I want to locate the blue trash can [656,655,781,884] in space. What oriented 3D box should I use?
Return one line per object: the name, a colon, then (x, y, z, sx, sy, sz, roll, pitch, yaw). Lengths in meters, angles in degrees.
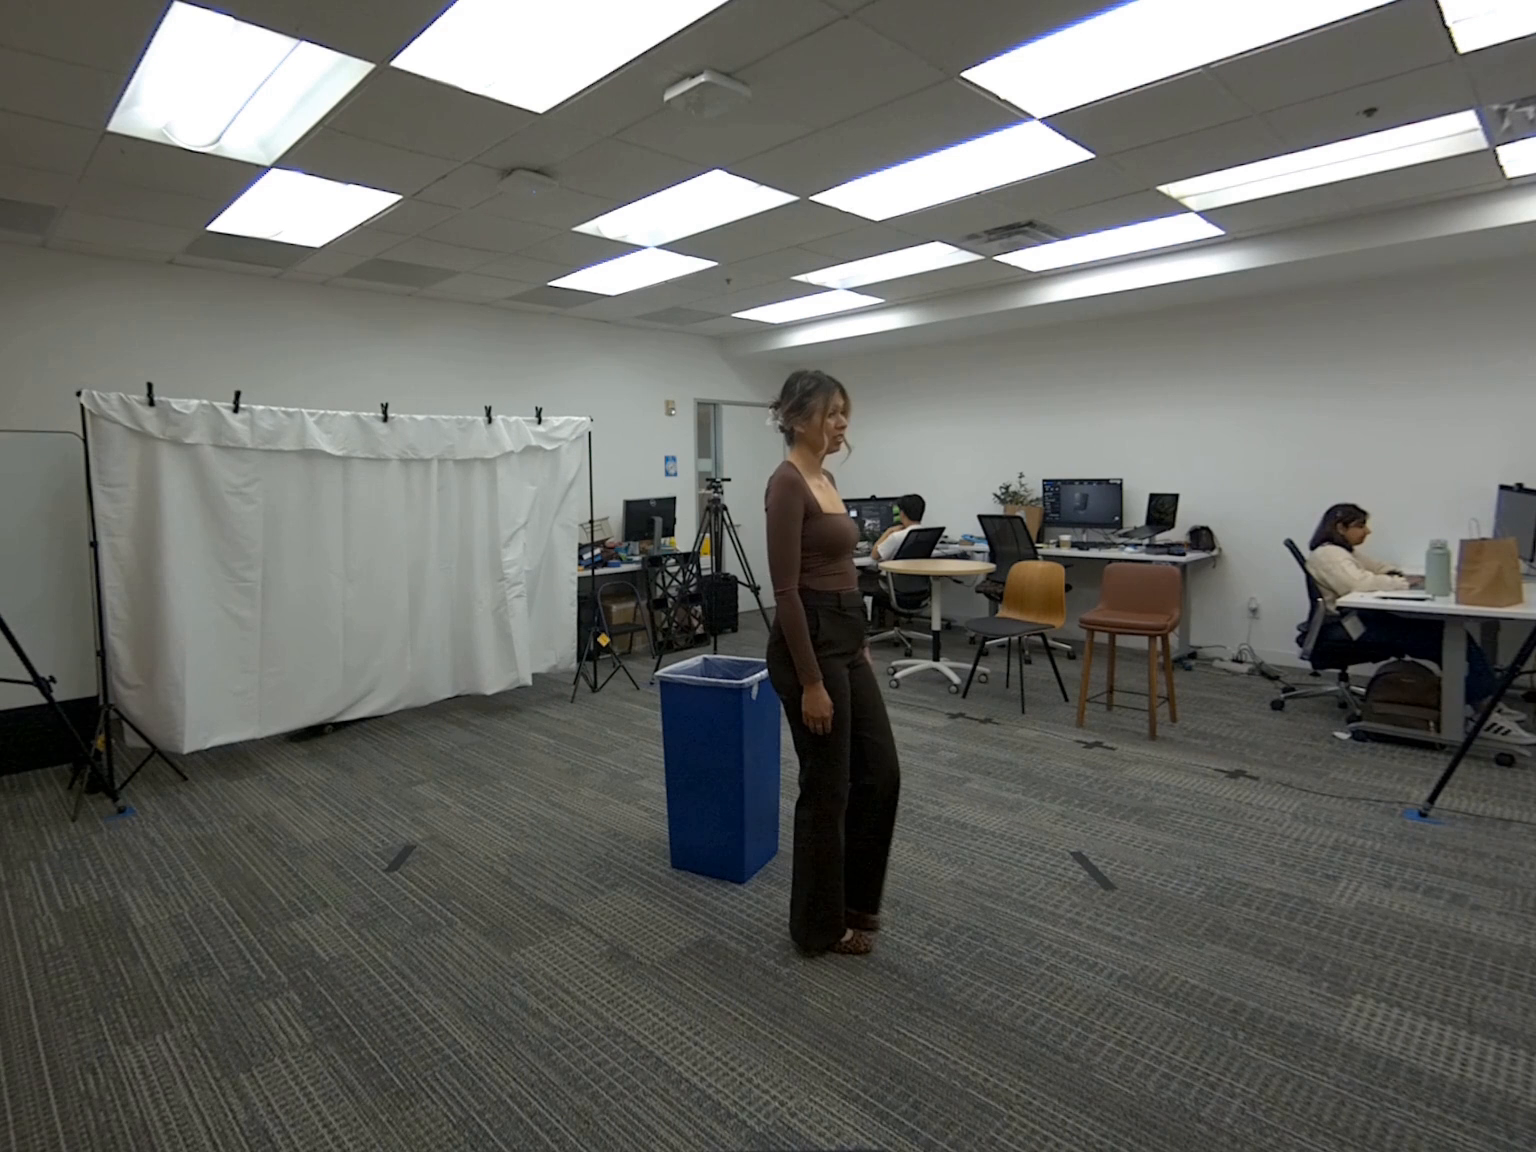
blue trash can: (-0.166, 0.682, 3.120, 0.383, 0.711, 0.370, 2, 4, 27)
